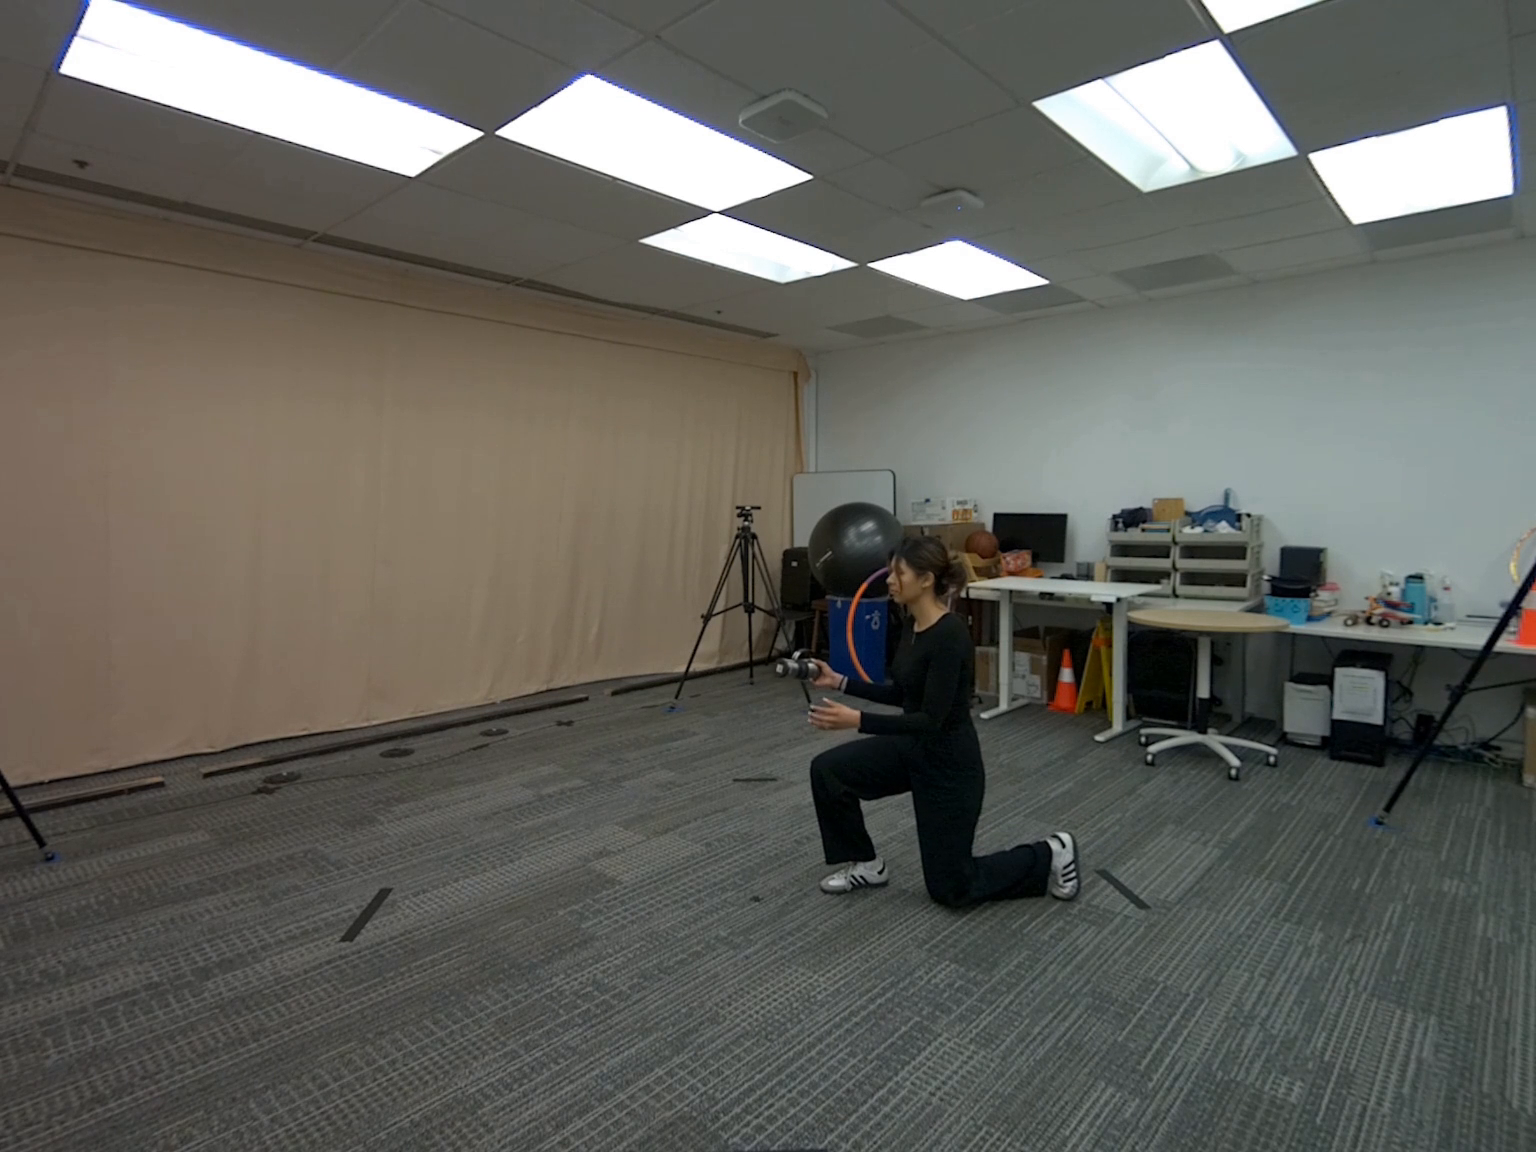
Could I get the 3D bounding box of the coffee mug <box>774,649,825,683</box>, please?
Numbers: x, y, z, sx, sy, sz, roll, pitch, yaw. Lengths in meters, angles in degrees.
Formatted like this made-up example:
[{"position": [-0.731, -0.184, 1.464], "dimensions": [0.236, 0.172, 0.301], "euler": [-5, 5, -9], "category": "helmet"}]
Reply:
[{"position": [0.117, 0.344, 3.246], "dimensions": [0.196, 0.124, 0.089], "euler": [11, -32, -39], "category": "coffee mug"}]
